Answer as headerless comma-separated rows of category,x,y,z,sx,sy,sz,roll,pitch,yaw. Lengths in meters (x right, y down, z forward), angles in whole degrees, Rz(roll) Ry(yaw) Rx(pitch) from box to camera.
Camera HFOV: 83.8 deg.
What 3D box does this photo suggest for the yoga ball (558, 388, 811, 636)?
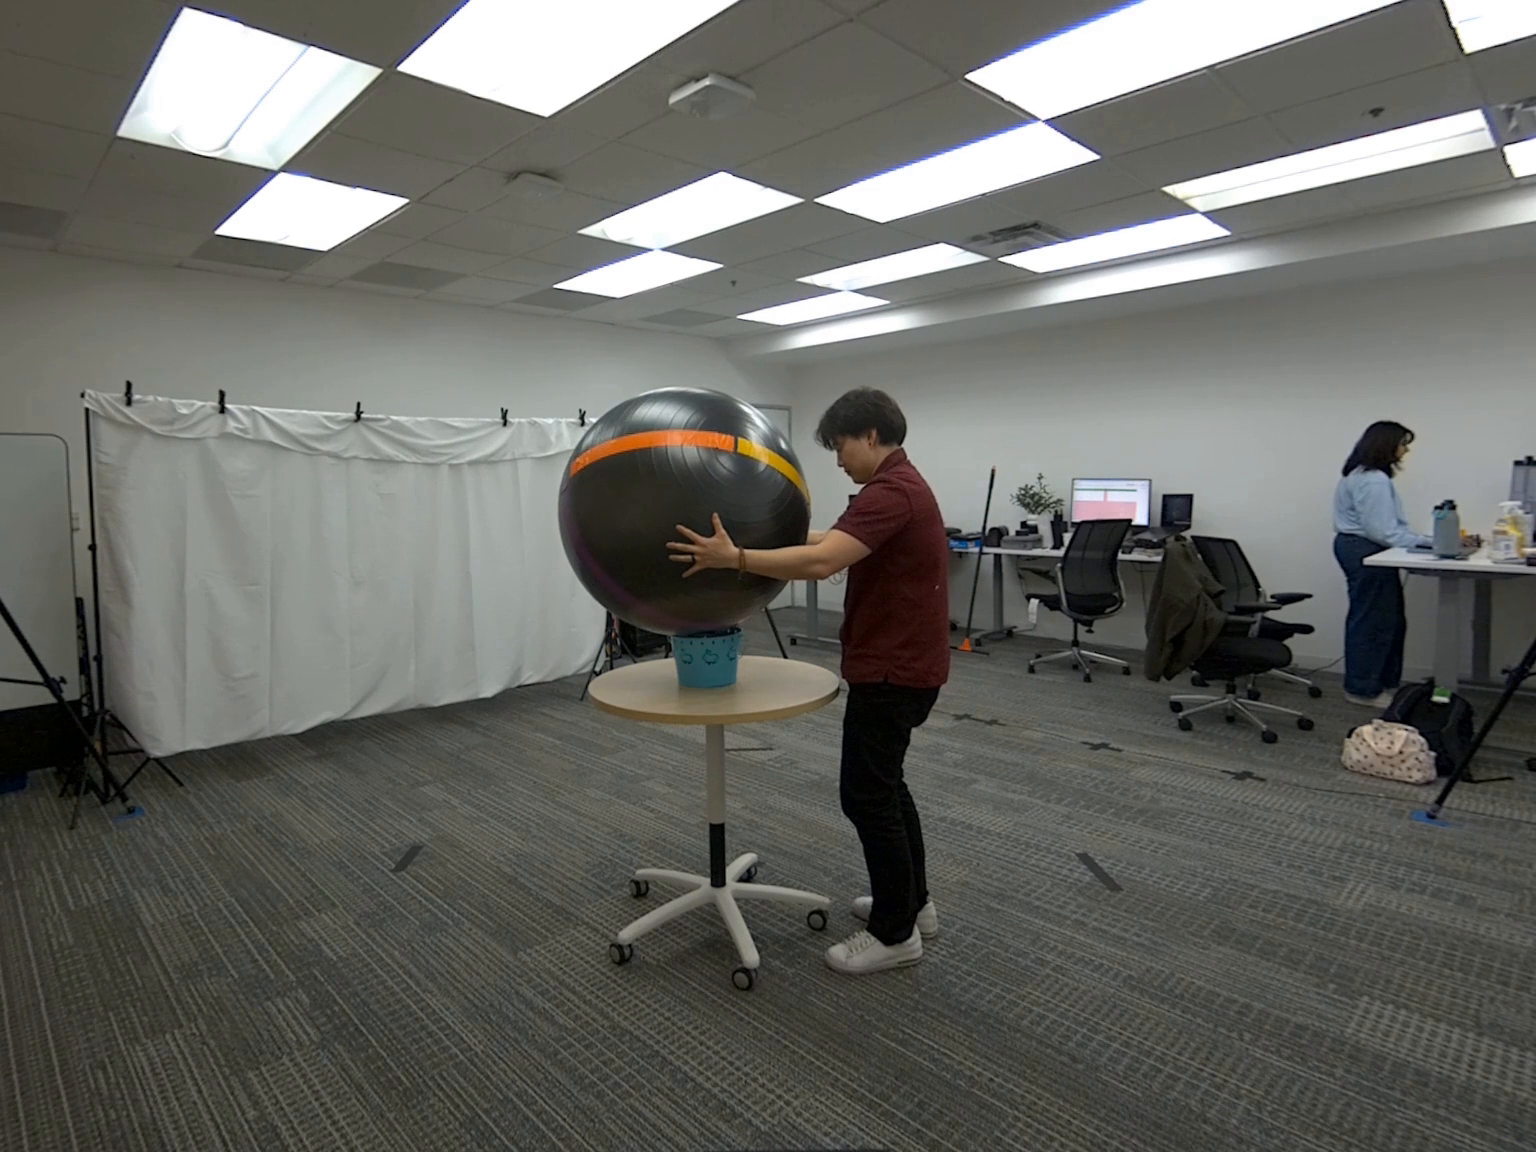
yoga ball,-0.248,-0.198,2.600,0.757,0.755,0.762,-1,5,-2
